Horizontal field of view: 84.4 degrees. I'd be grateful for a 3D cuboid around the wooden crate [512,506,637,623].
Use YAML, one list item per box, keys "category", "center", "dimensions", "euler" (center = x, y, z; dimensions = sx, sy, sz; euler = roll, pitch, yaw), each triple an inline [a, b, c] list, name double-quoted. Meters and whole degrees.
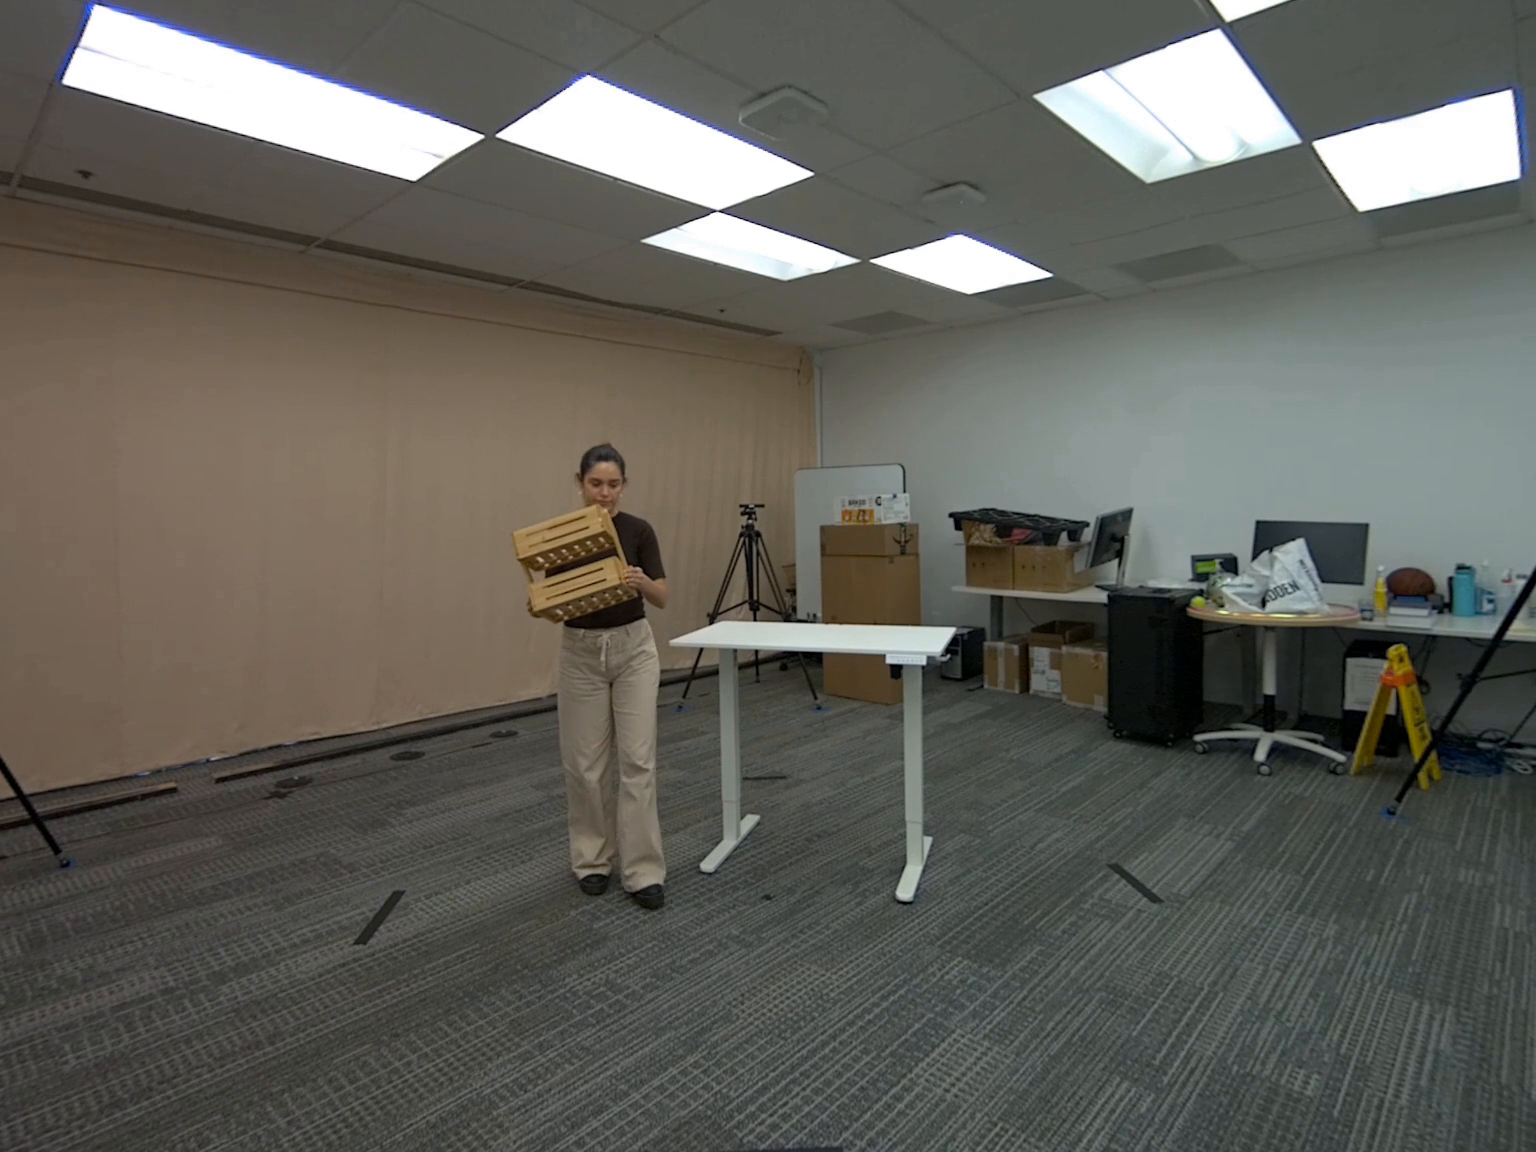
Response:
- category: "wooden crate"
  center: [-0.636, -0.034, 2.804]
  dimensions: [0.325, 0.277, 0.297]
  euler: [-19, -15, 2]
